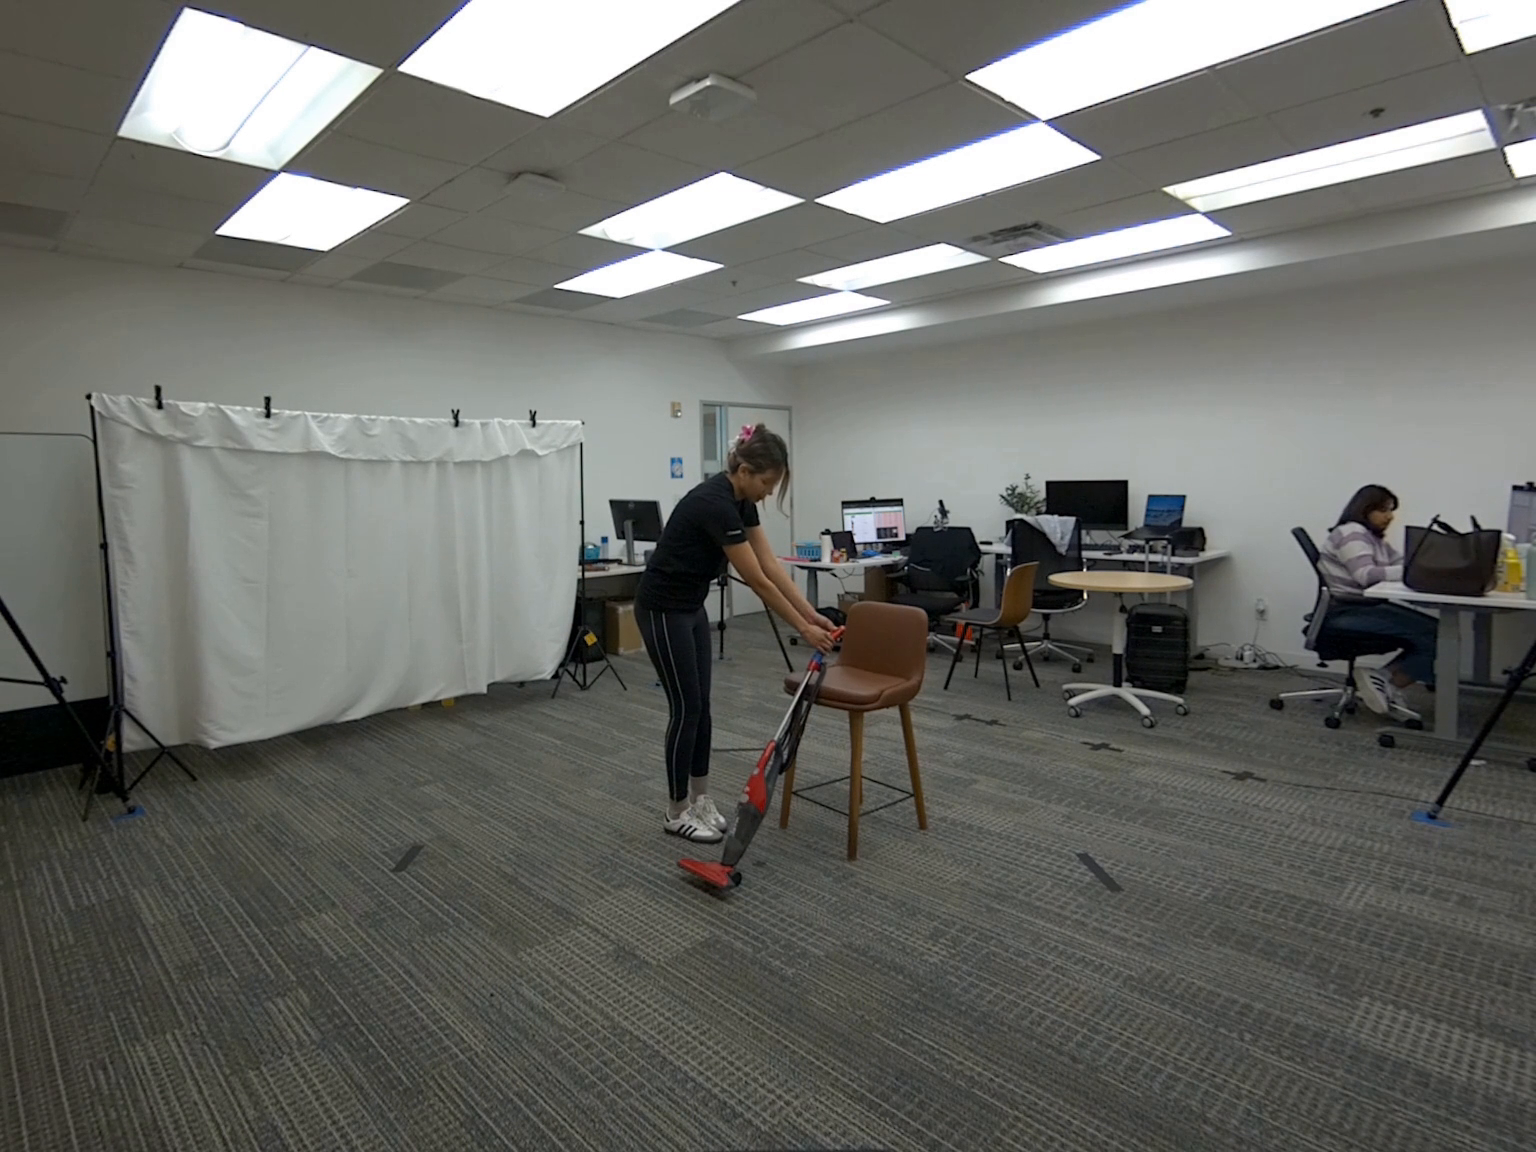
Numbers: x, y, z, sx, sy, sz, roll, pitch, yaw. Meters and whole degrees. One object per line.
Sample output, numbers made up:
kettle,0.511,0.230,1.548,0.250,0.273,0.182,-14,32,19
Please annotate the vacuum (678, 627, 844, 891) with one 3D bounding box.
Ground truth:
vacuum,0.053,0.635,3.144,0.261,1.055,0.138,8,-33,42
